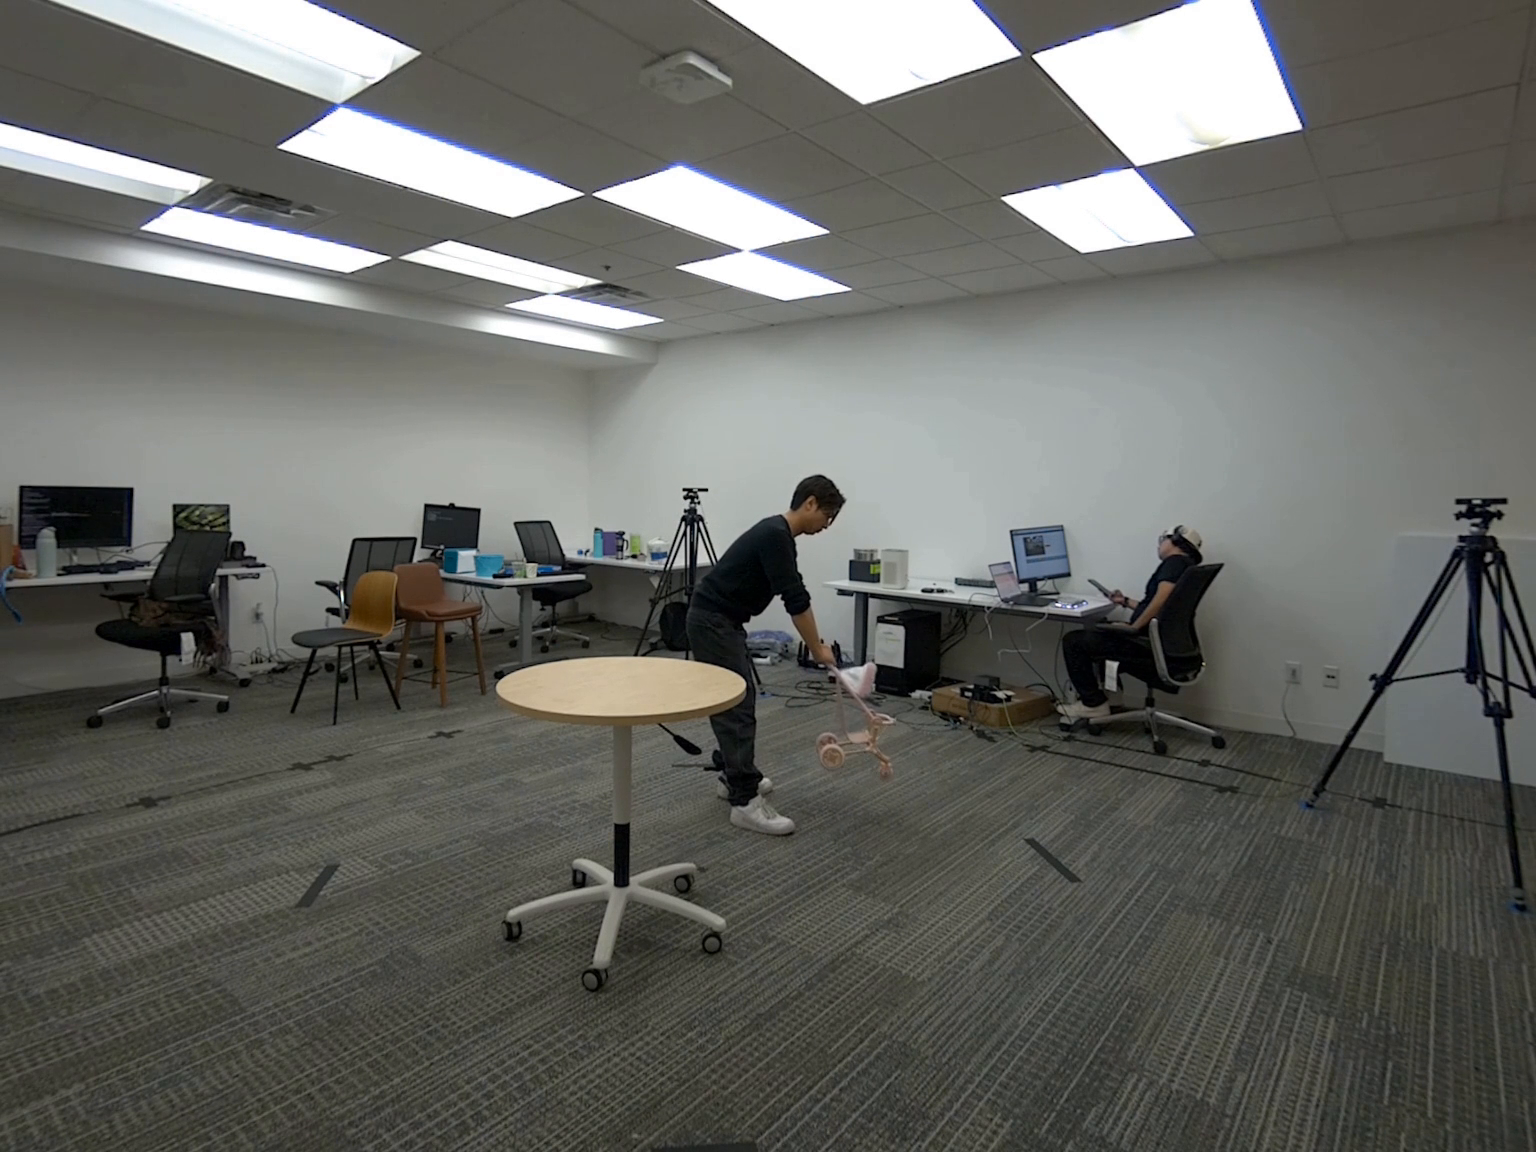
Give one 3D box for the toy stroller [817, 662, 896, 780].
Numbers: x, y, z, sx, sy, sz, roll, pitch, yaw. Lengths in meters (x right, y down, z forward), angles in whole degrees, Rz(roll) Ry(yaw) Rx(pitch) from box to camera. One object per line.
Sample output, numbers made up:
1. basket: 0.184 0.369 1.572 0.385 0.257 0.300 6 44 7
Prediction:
1. toy stroller: 0.383 0.606 3.680 0.344 0.536 0.279 2 -1 7
